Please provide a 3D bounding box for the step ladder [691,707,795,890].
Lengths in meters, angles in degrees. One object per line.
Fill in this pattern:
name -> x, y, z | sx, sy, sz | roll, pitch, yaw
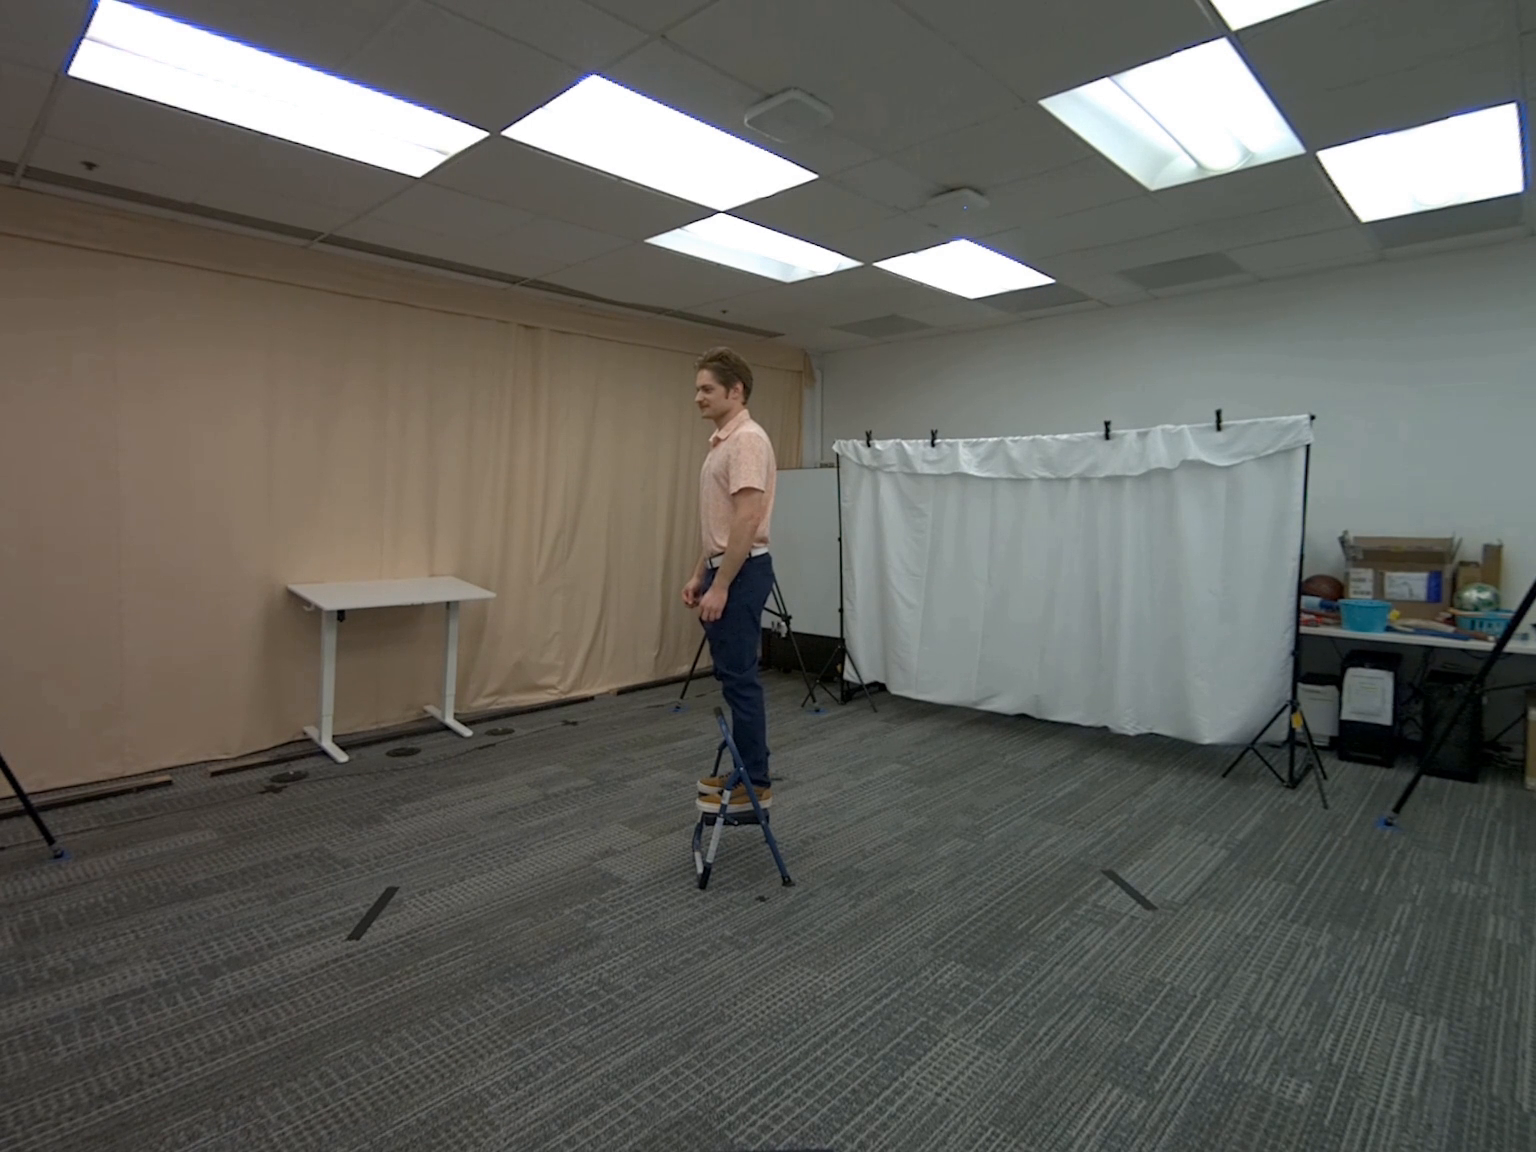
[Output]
step ladder -> -0.114, 0.822, 3.259 | 0.346, 0.605, 0.435 | 0, 3, -9
